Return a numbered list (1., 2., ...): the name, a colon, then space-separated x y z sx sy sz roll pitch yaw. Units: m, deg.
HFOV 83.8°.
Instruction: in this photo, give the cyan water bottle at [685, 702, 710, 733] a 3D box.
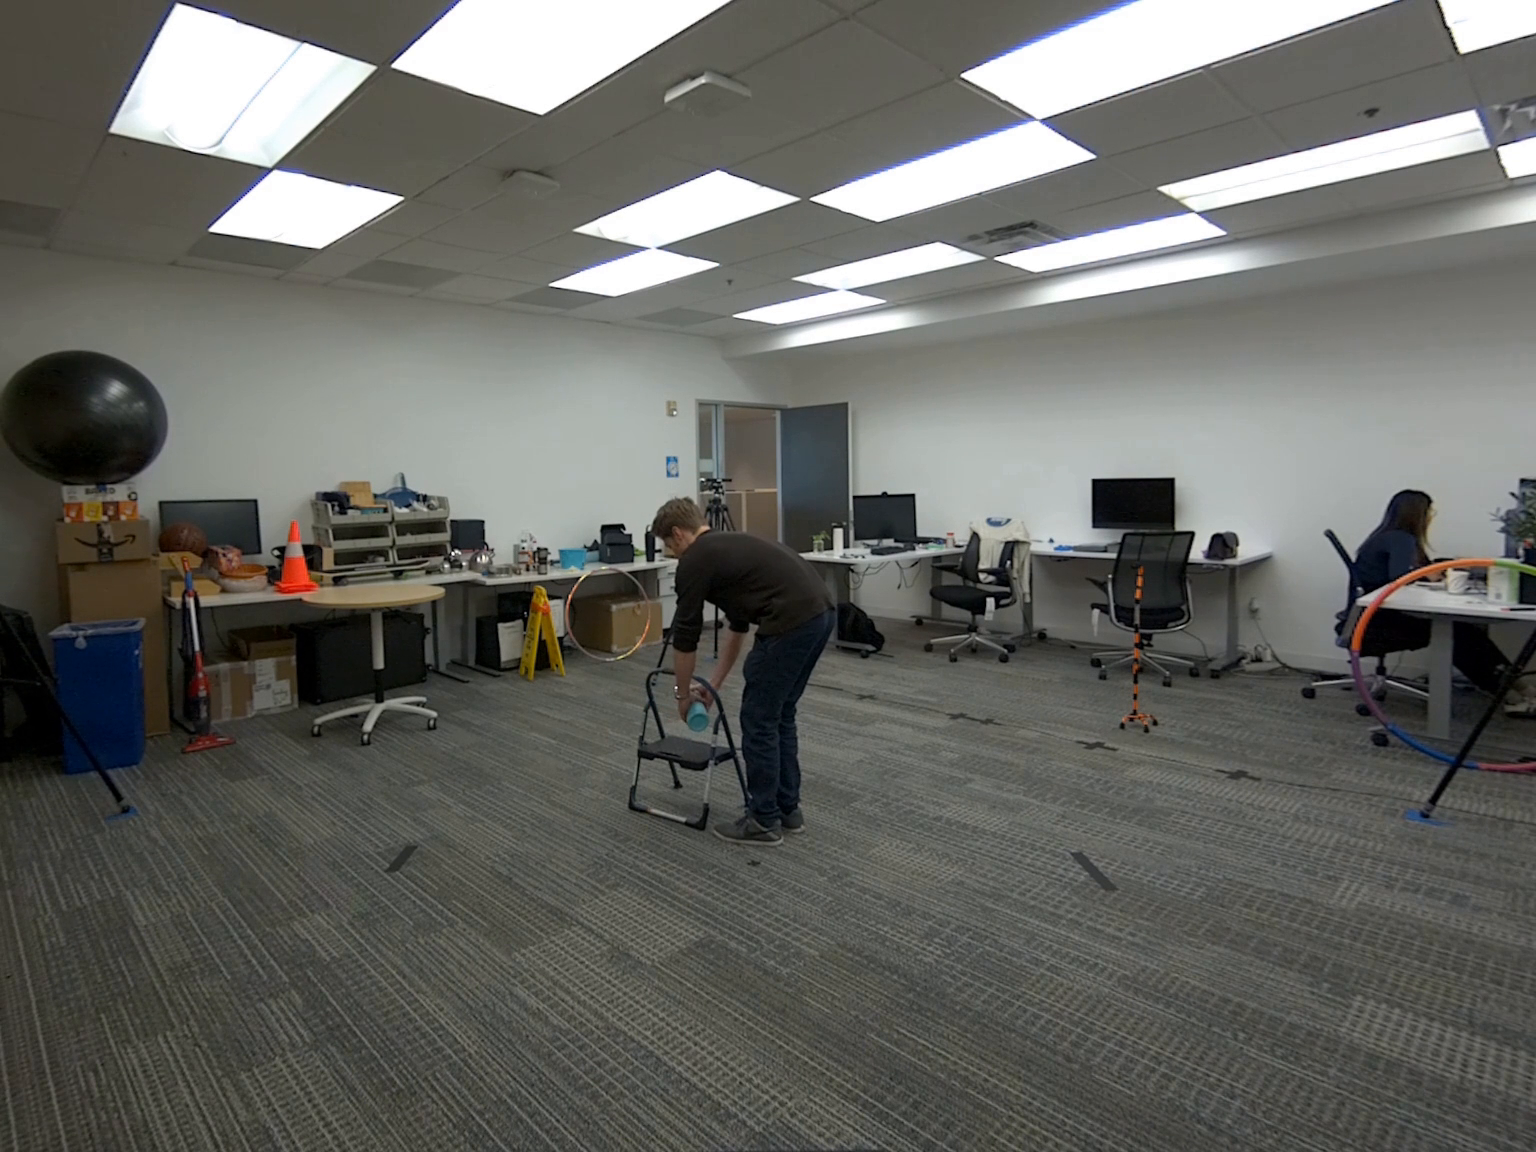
1. cyan water bottle: -0.311 0.547 3.615 0.091 0.091 0.291 -2 22 -12
